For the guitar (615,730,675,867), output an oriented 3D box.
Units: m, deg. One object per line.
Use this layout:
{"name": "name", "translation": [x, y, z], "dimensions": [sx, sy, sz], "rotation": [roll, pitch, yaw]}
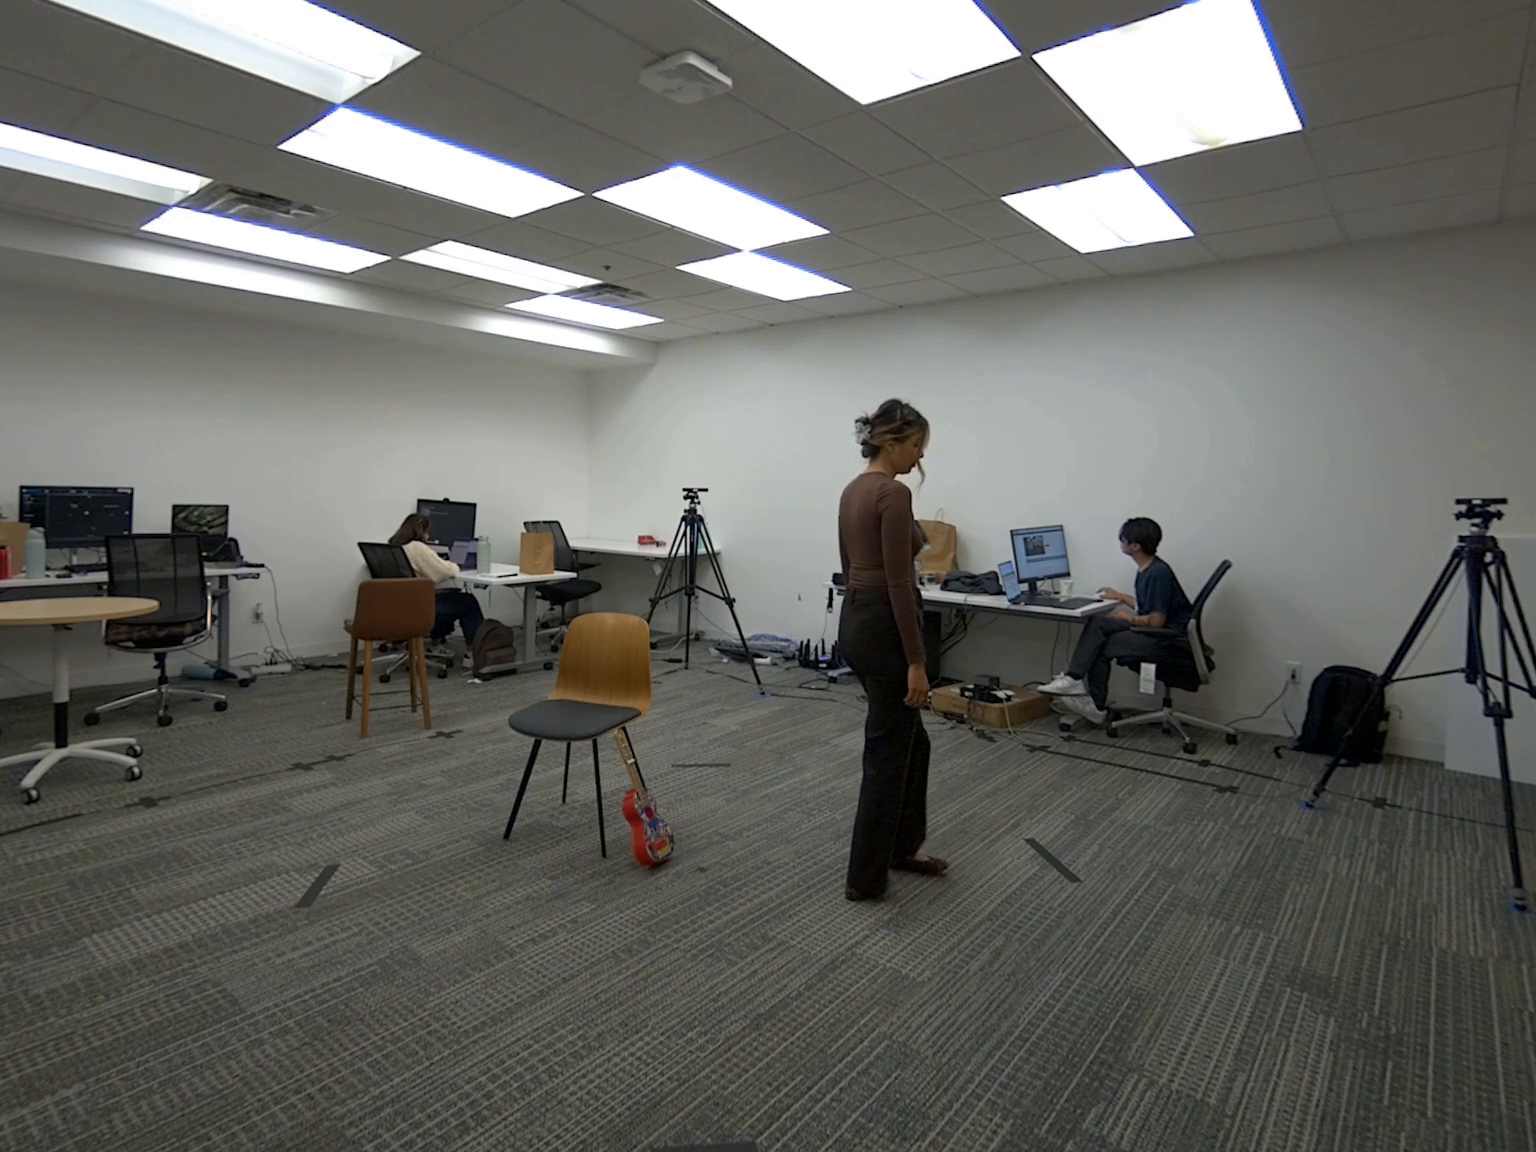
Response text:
{"name": "guitar", "translation": [-0.489, 0.827, 3.207], "dimensions": [0.071, 0.508, 0.187], "rotation": [-27, -16, 22]}
